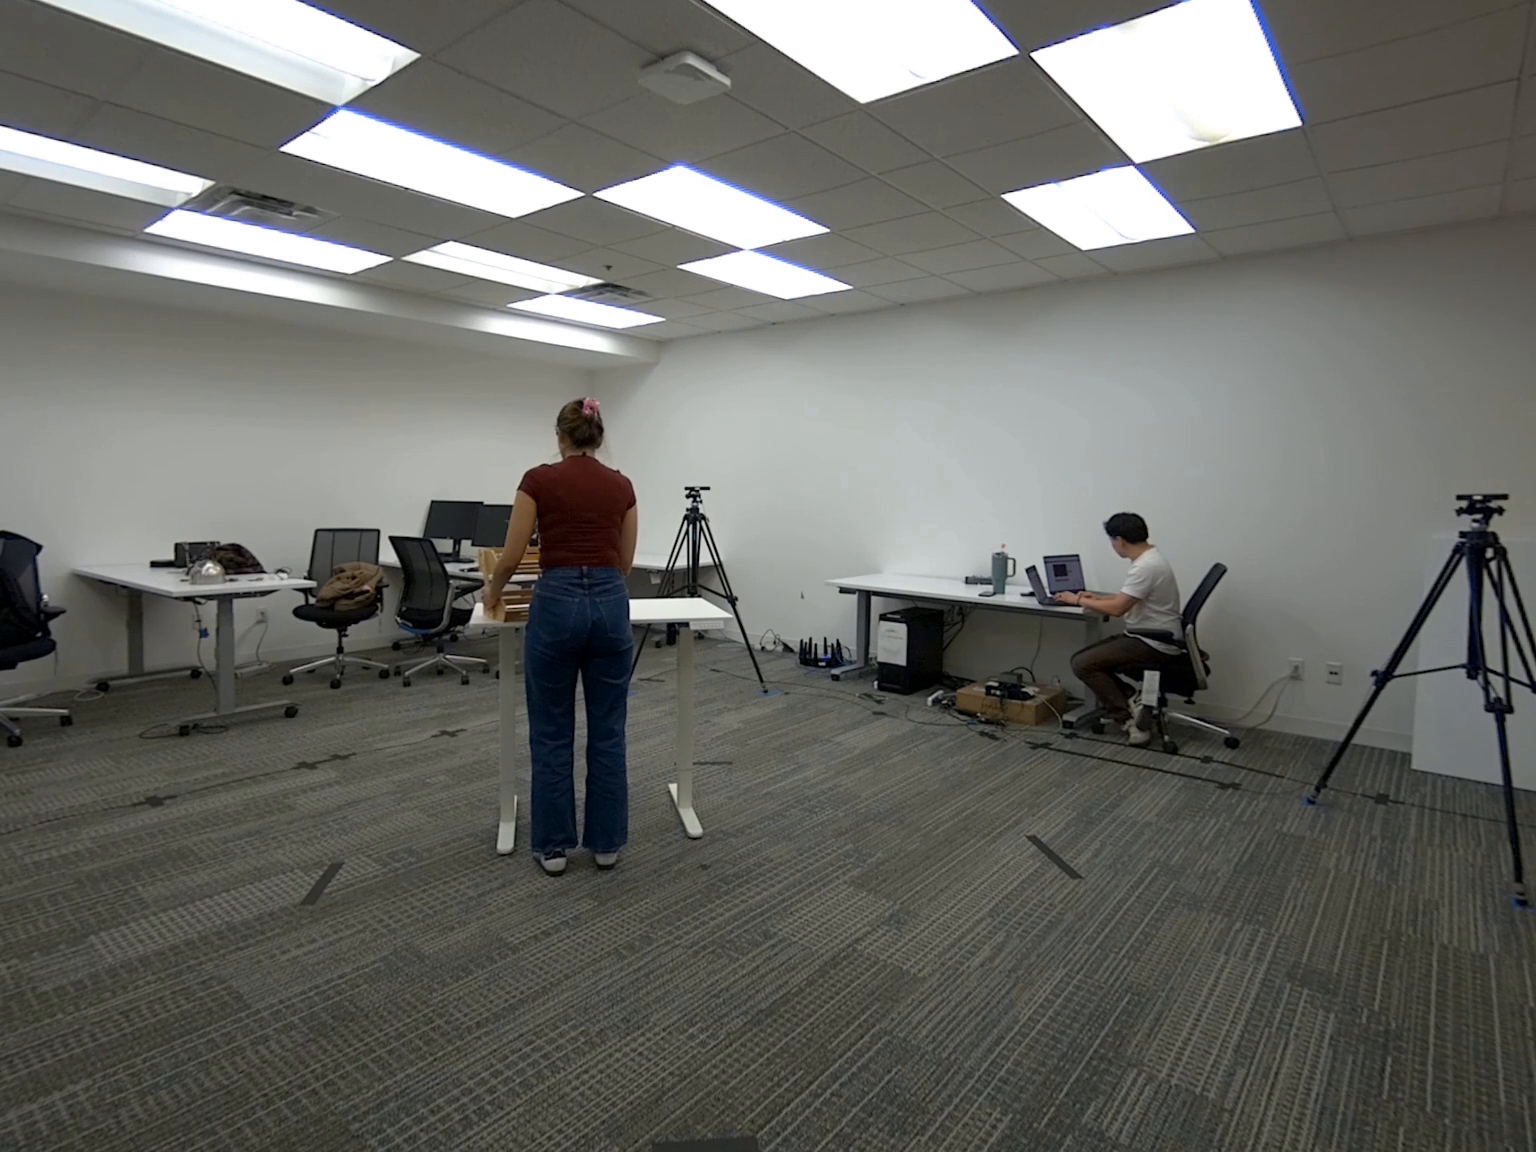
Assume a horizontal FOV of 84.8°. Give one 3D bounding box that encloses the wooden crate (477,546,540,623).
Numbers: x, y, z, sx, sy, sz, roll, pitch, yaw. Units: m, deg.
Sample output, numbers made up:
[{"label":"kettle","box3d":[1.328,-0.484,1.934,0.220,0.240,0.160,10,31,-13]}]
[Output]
[{"label":"wooden crate","box3d":[-0.951,0.023,3.328,0.315,0.273,0.312,-1,4,-36]}]
